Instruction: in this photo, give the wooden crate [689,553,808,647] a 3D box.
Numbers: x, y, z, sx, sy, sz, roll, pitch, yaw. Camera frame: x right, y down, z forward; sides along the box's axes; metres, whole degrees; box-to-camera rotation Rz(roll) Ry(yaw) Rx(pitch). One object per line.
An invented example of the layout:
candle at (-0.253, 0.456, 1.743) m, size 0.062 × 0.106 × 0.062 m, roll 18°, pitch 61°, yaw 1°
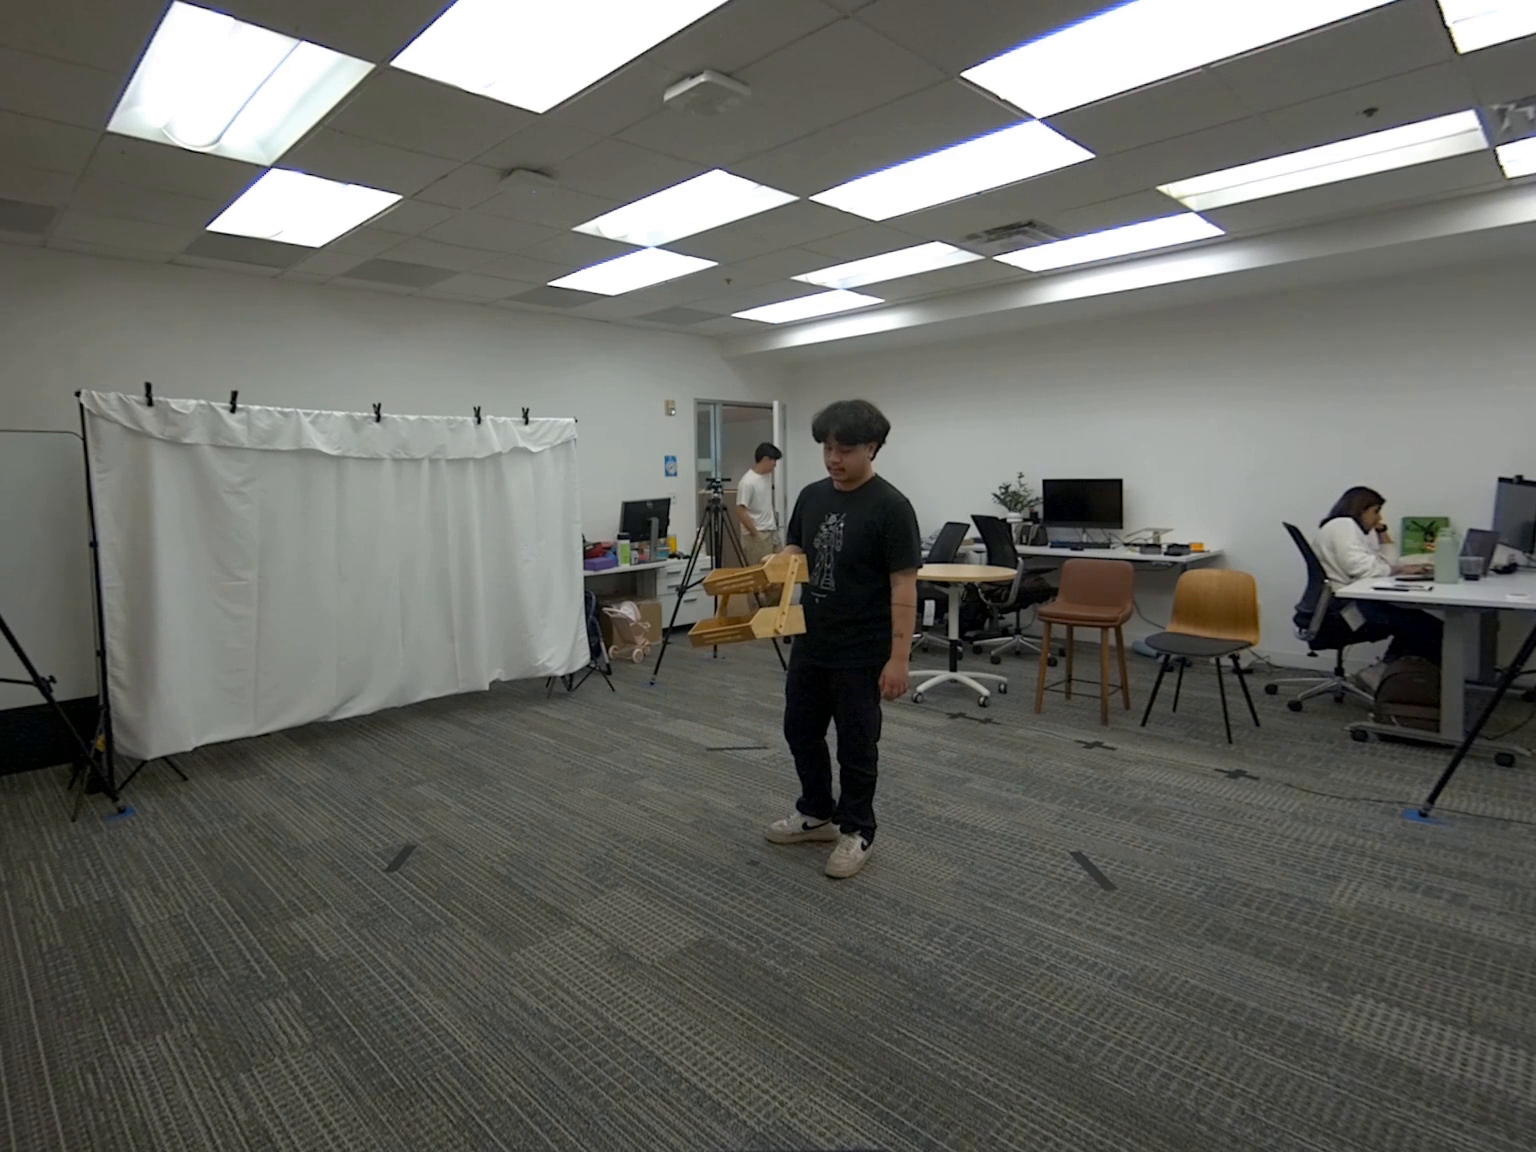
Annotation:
wooden crate at (-0.070, 0.076, 2.844) m, size 0.331 × 0.275 × 0.293 m, roll -13°, pitch -9°, yaw 44°
